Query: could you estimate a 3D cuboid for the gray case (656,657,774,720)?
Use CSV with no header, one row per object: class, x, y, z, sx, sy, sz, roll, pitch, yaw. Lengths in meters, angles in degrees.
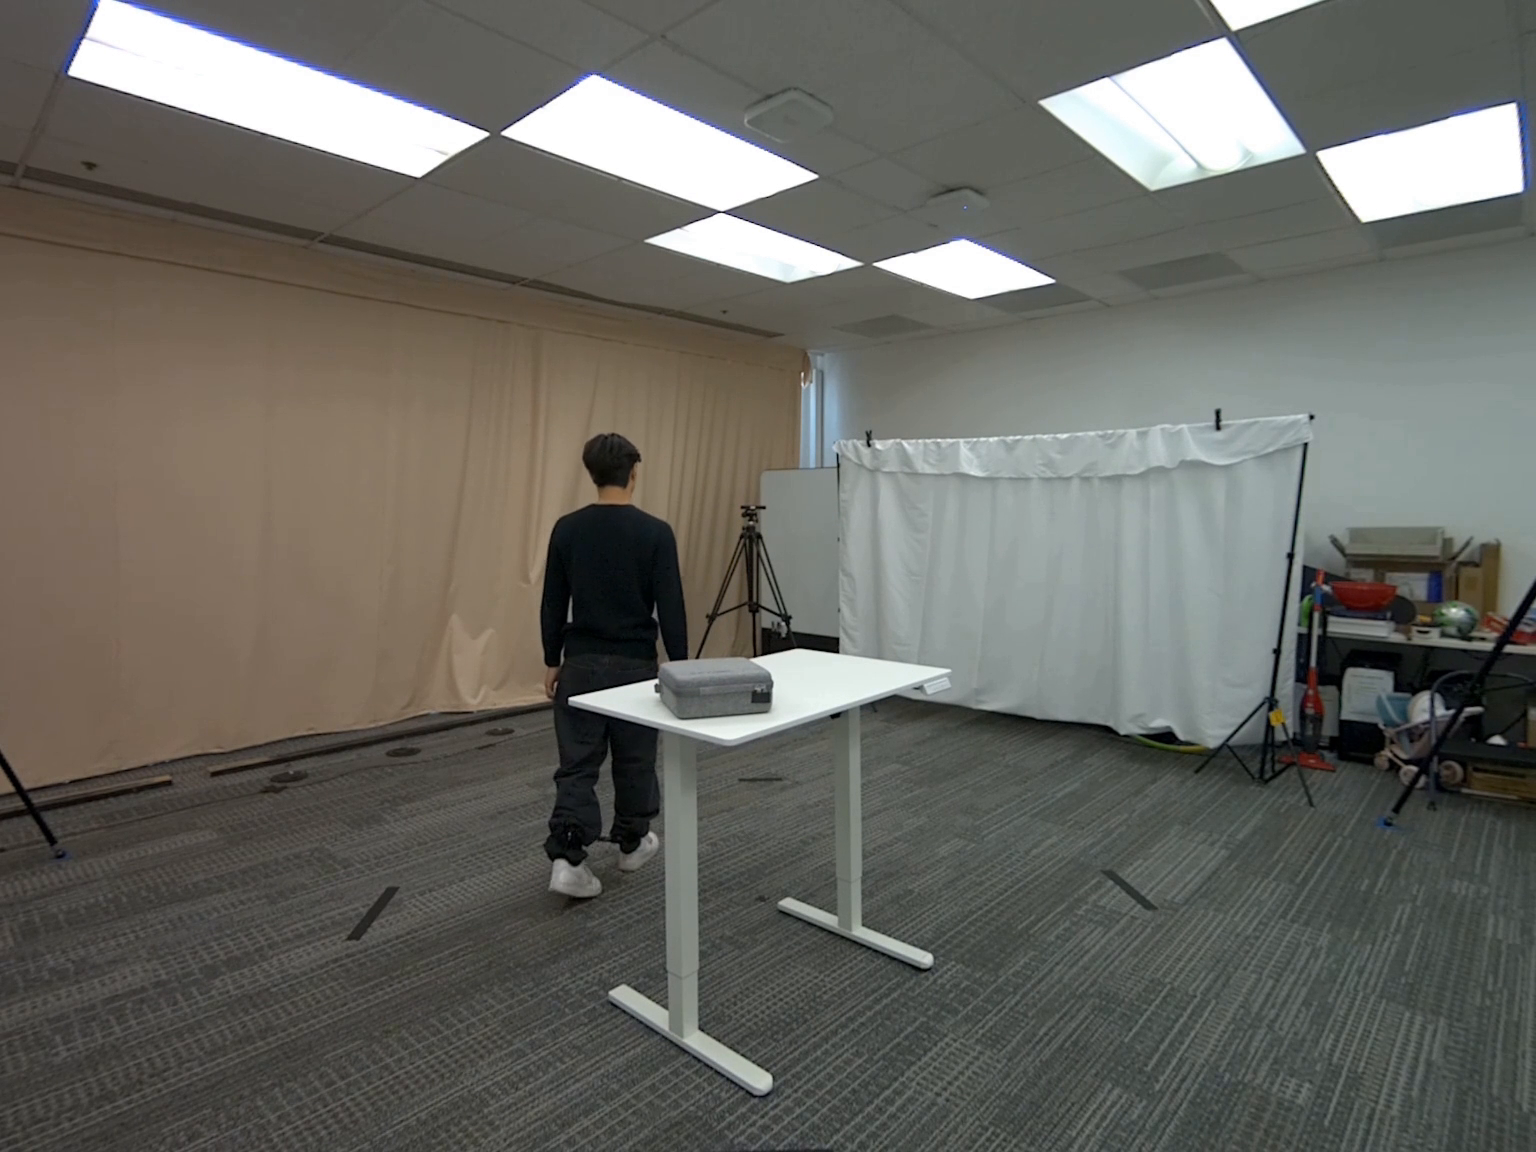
gray case,-0.138,0.280,2.155,0.253,0.104,0.266,-2,5,-17
